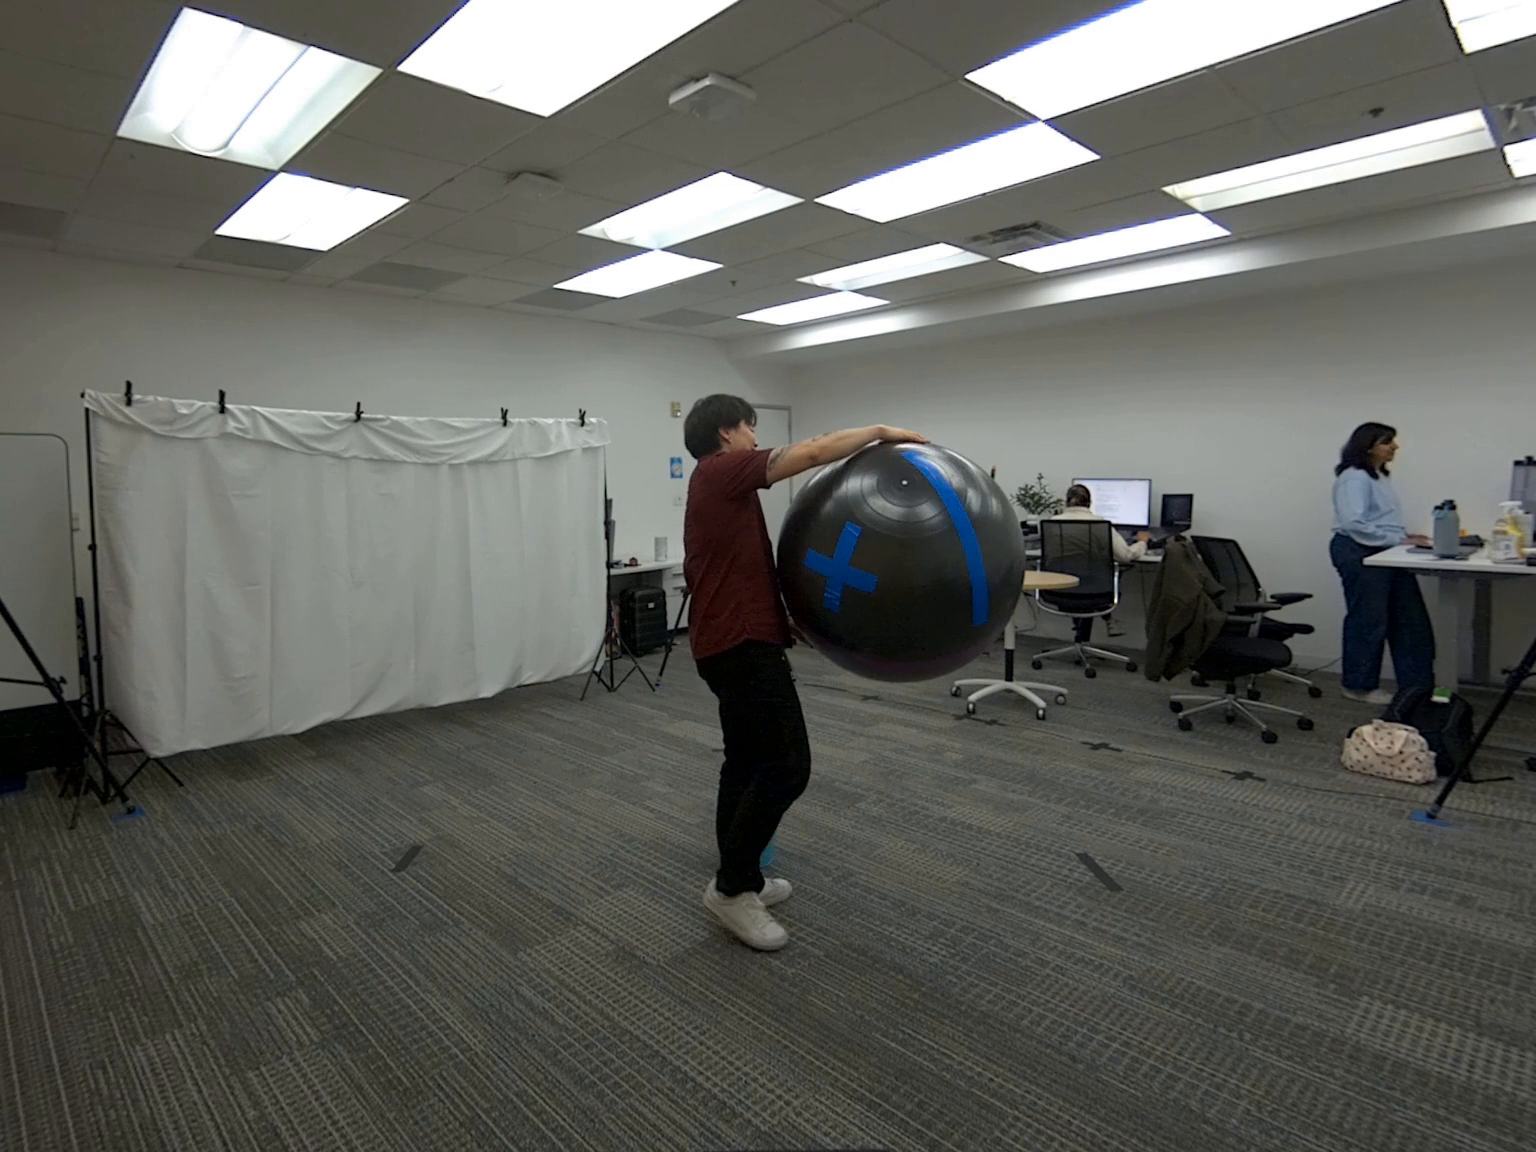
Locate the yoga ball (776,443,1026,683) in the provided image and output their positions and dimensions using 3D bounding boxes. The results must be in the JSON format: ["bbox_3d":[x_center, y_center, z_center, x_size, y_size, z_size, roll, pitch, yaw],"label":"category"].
[{"bbox_3d":[0.417,-0.044,2.676,0.757,0.755,0.762,-1,5,-2],"label":"yoga ball"}]
